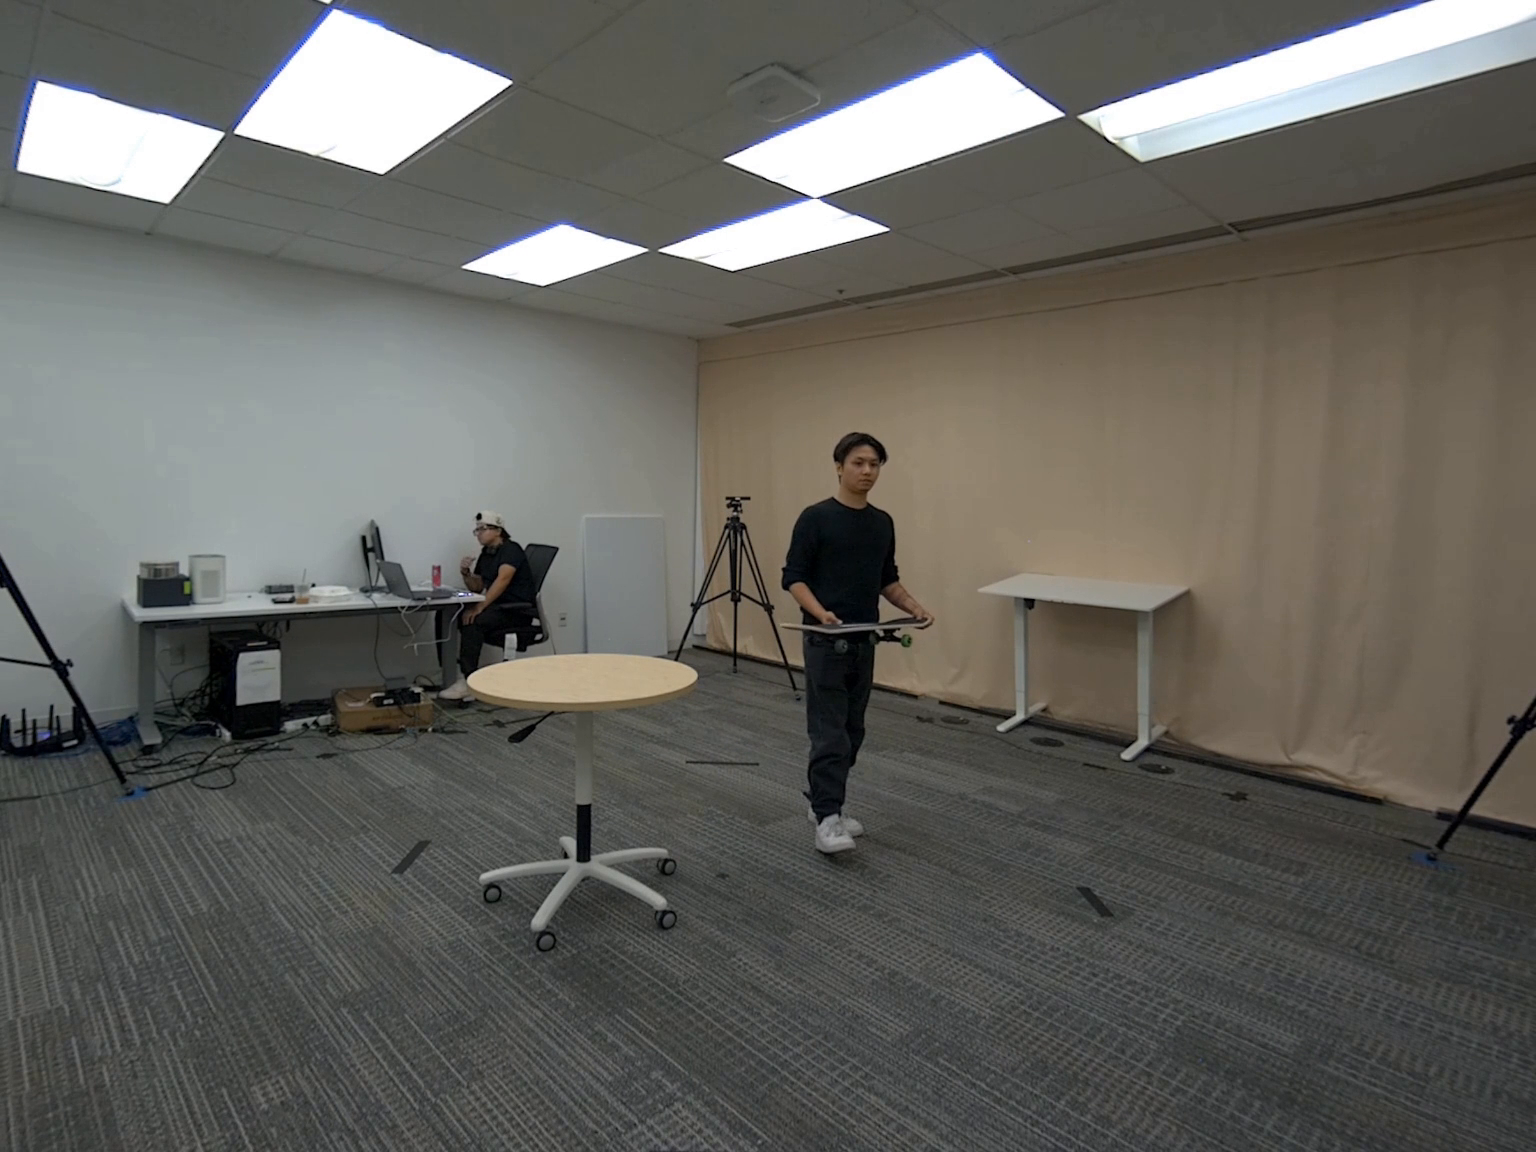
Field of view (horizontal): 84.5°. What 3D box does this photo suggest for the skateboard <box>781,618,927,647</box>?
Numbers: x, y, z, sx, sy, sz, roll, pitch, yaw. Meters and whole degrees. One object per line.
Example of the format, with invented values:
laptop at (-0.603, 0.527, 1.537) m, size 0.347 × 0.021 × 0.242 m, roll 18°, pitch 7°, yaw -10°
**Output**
skateboard at (0.358, 0.225, 3.219) m, size 0.767 × 0.110 × 0.198 m, roll -2°, pitch 1°, yaw -44°
